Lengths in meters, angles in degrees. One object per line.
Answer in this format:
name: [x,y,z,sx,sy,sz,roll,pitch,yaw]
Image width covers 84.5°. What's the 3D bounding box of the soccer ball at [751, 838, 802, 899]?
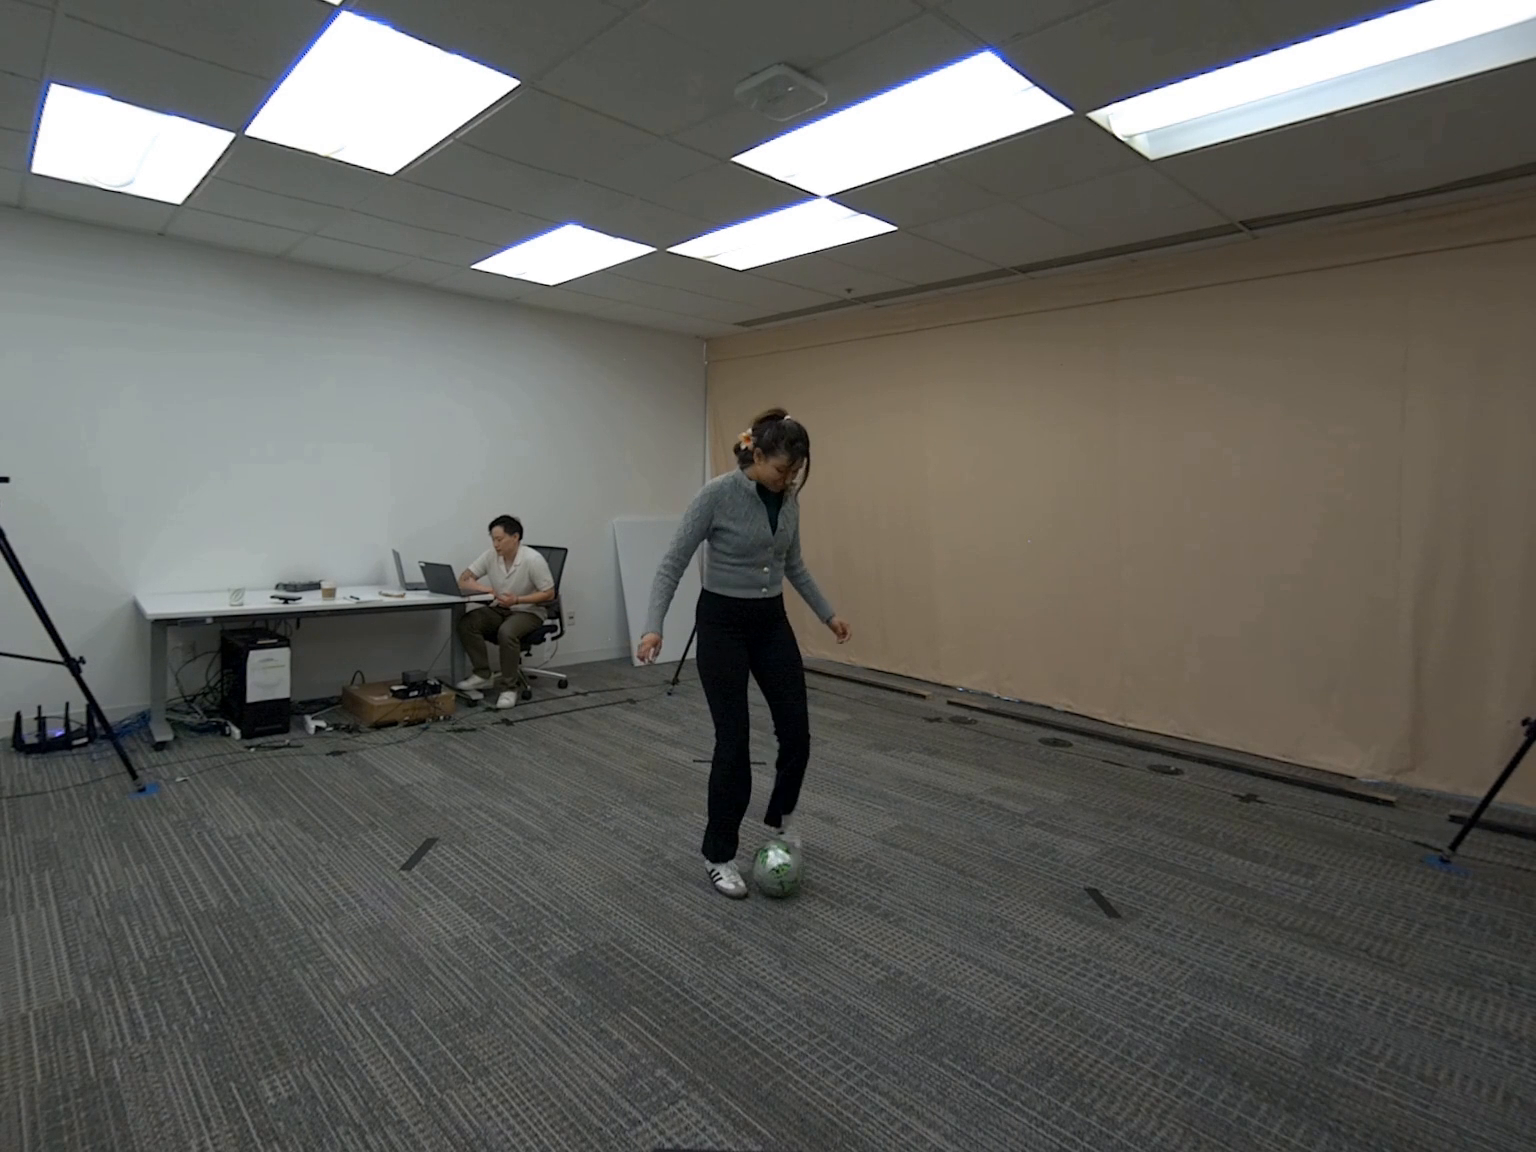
soccer ball: [0.018,1.025,2.949,0.187,0.187,0.188,1,4,-1]
